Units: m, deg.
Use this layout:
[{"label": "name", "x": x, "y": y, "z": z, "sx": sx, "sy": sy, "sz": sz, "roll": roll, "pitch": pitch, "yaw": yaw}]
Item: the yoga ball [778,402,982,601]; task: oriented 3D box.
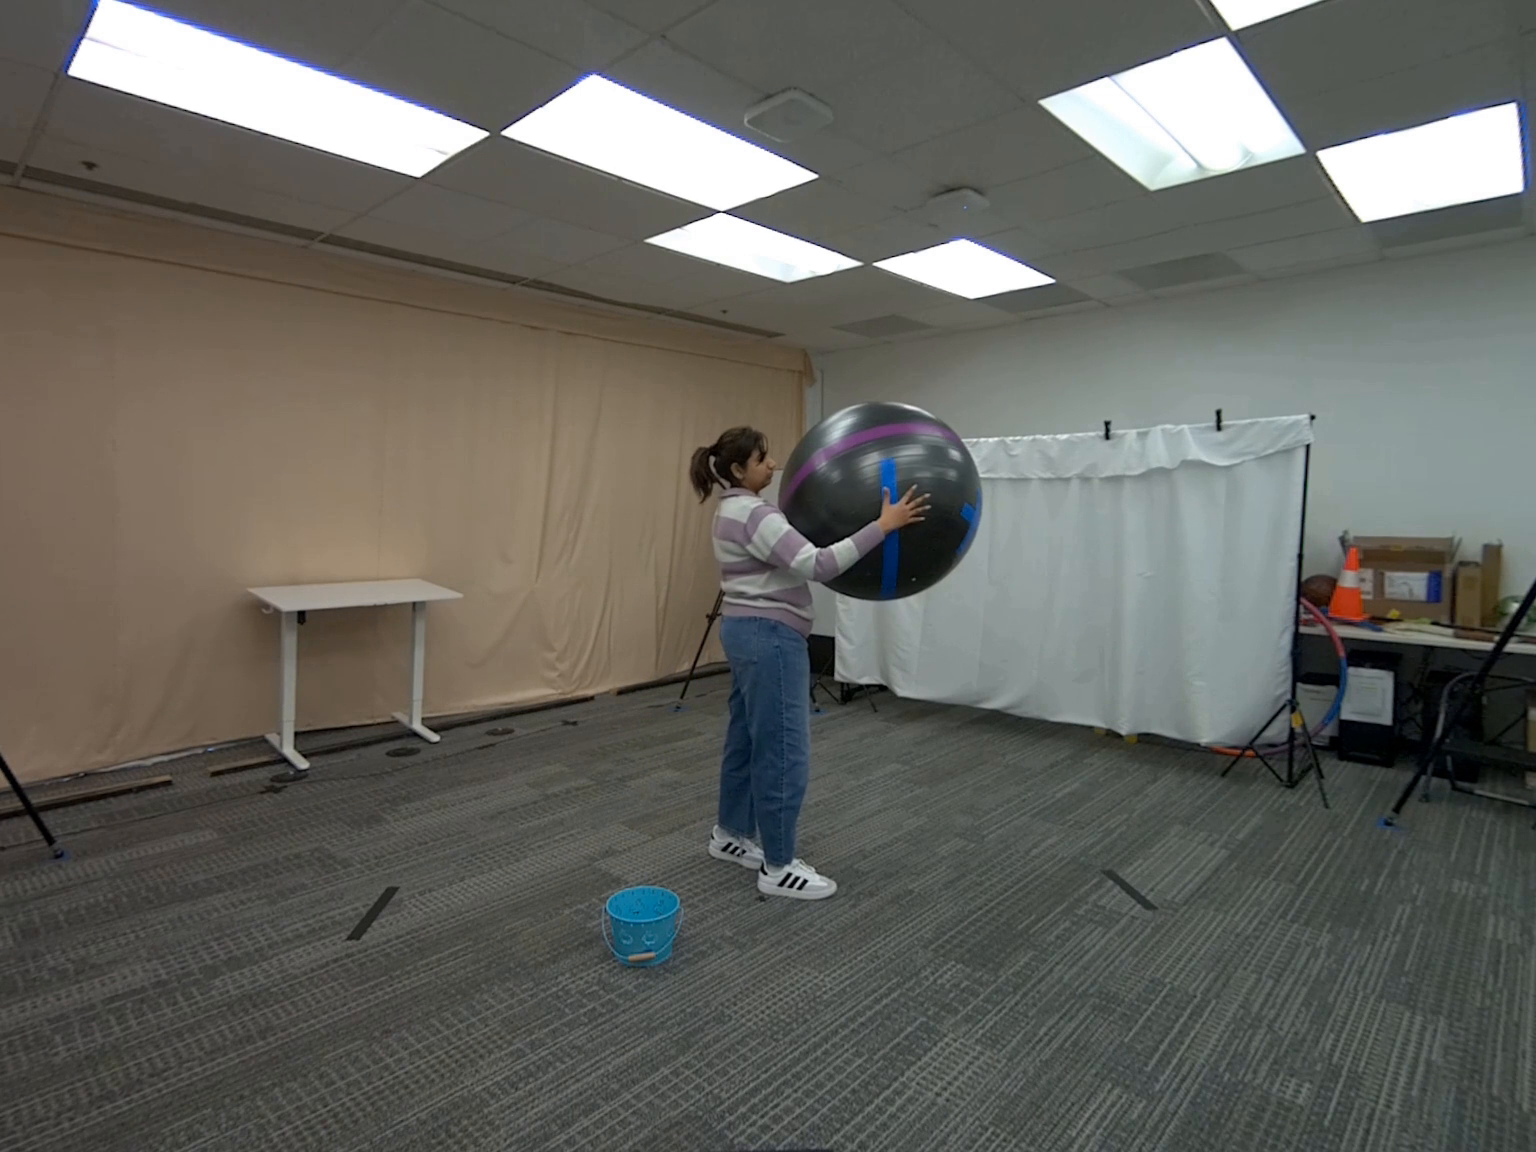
[{"label": "yoga ball", "x": 0.432, "y": -0.274, "z": 3.220, "sx": 0.757, "sy": 0.756, "sz": 0.761, "roll": 0, "pitch": 4, "yaw": -2}]
